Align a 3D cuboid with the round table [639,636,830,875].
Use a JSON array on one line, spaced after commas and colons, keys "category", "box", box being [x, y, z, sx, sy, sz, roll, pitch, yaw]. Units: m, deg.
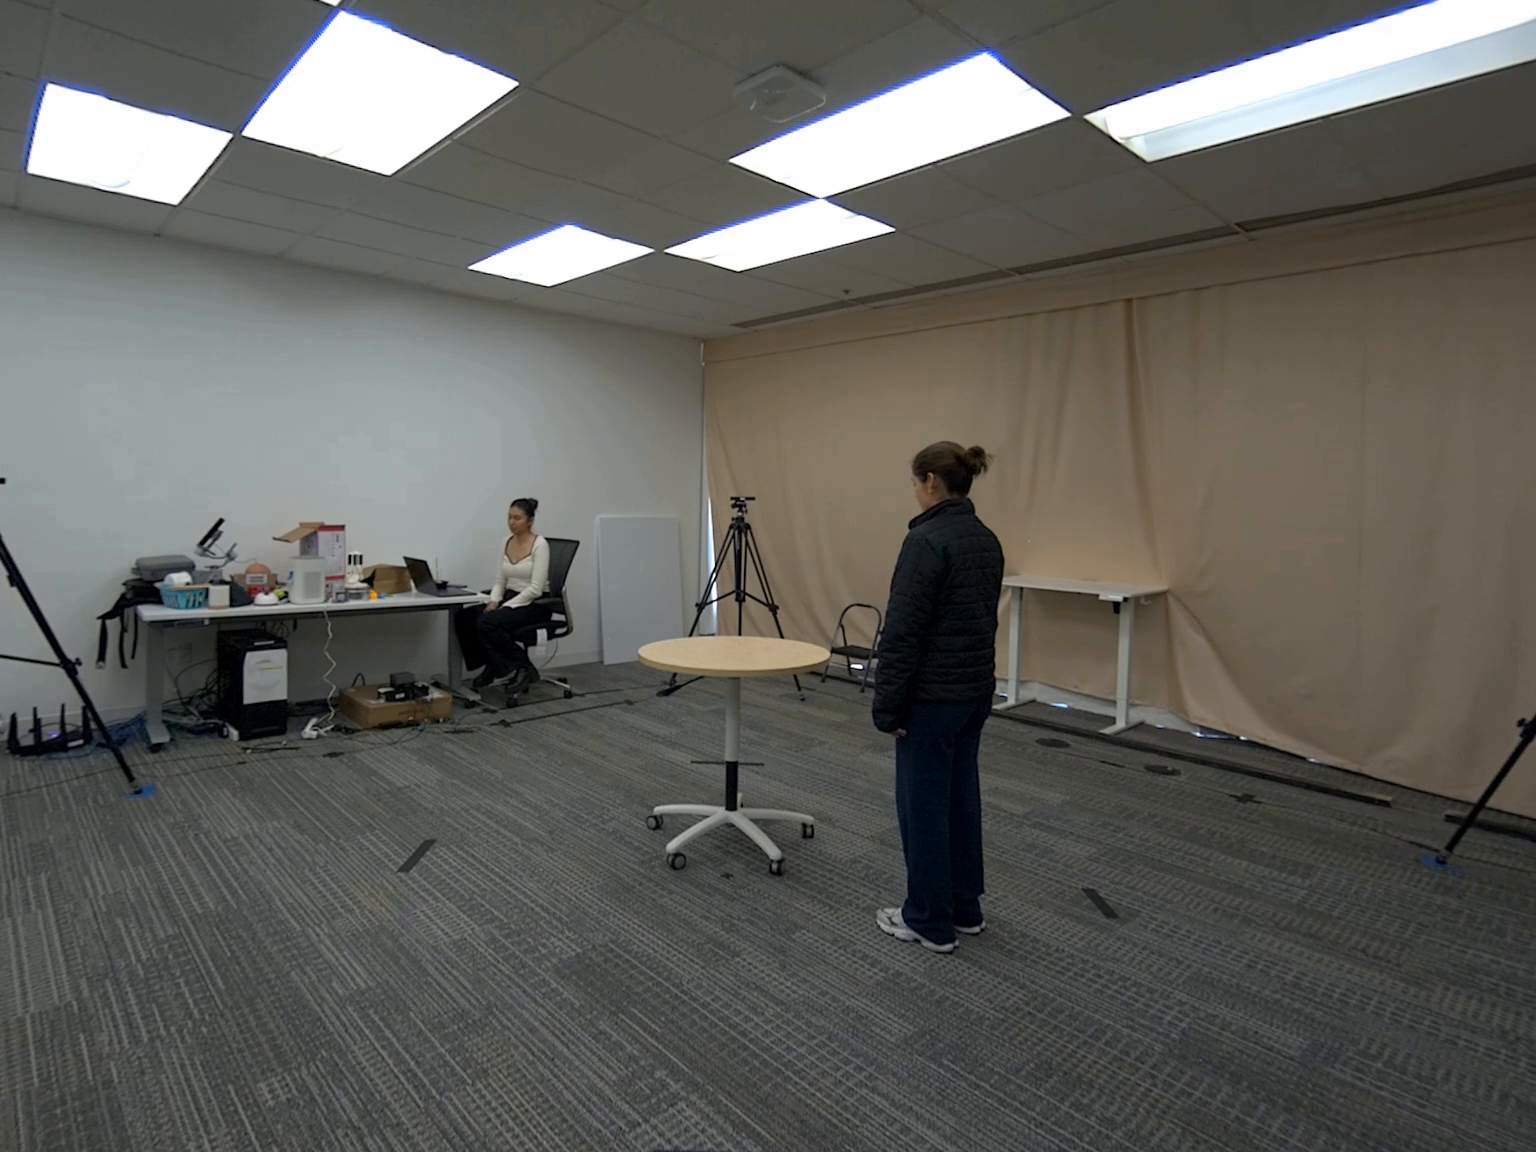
[{"category": "round table", "box": [-0.134, 0.690, 3.368, 0.784, 0.785, 0.787, 1, 4, -1]}]
